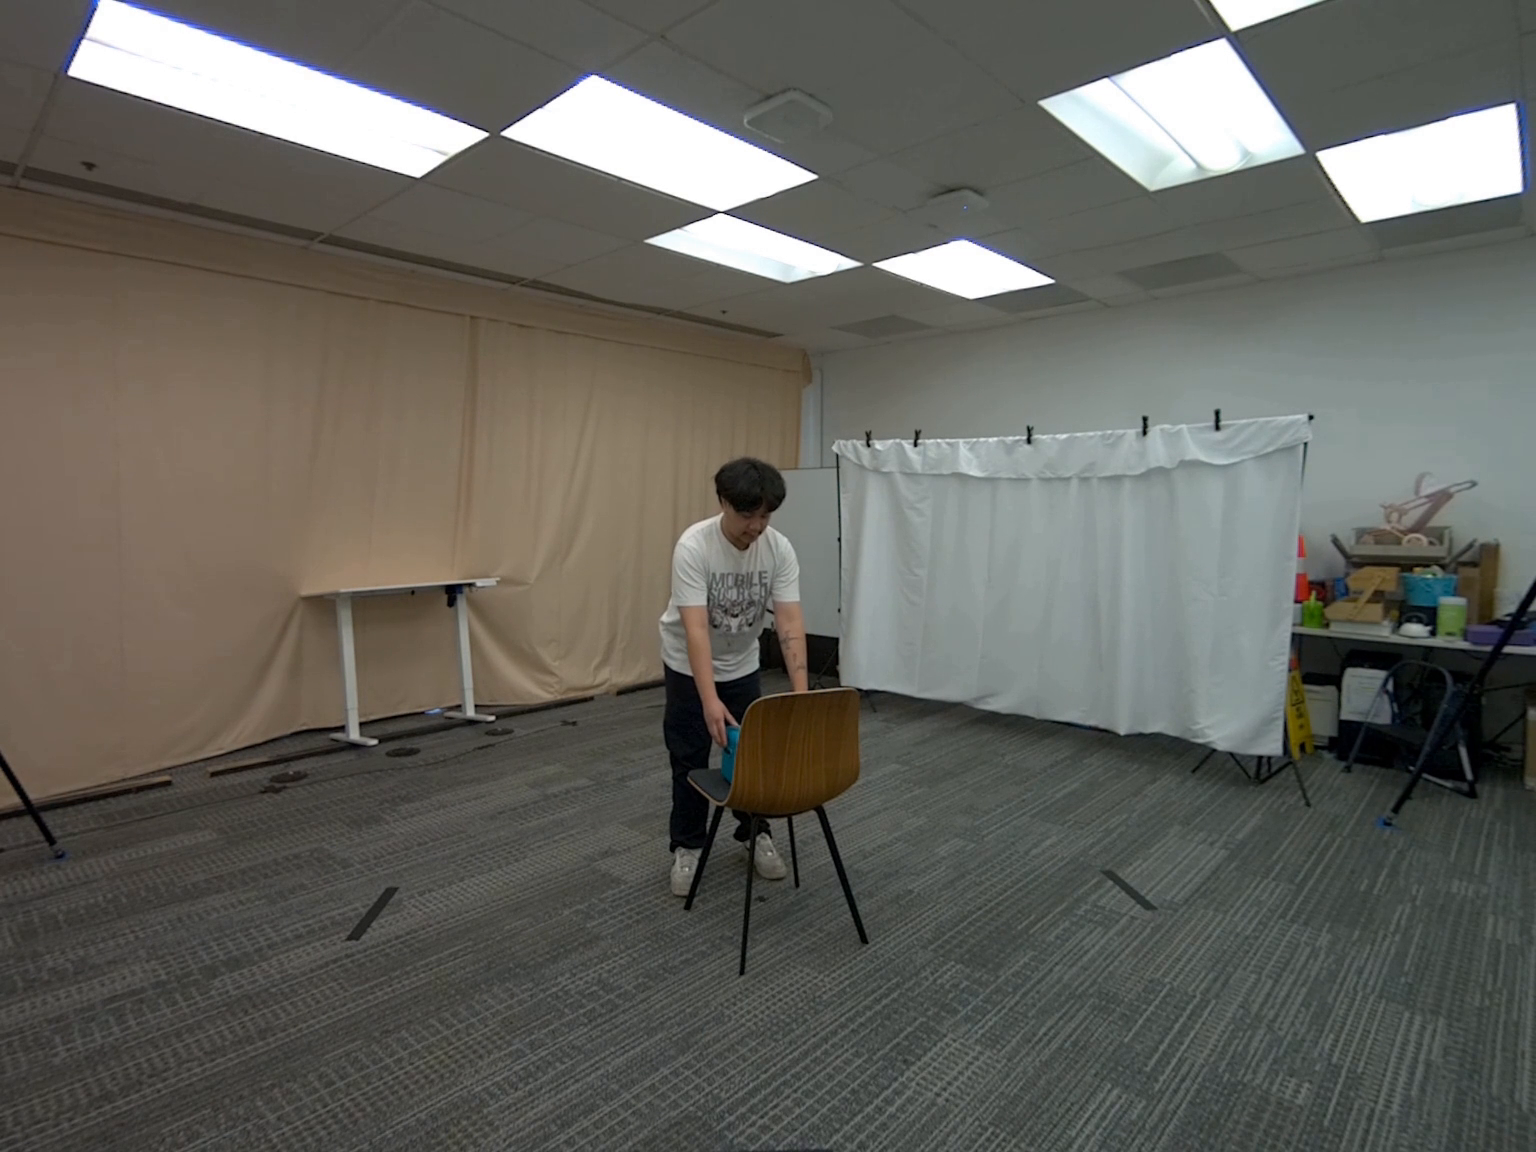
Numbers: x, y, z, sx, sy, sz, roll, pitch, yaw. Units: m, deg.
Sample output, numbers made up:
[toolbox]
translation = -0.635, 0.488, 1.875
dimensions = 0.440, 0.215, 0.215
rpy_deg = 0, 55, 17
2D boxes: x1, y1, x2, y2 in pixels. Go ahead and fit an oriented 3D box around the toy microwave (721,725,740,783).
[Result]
[toy microwave]
translation = -0.004, 0.584, 2.778
dimensions = 0.280, 0.183, 0.156
rpy_deg = -2, 8, -22
